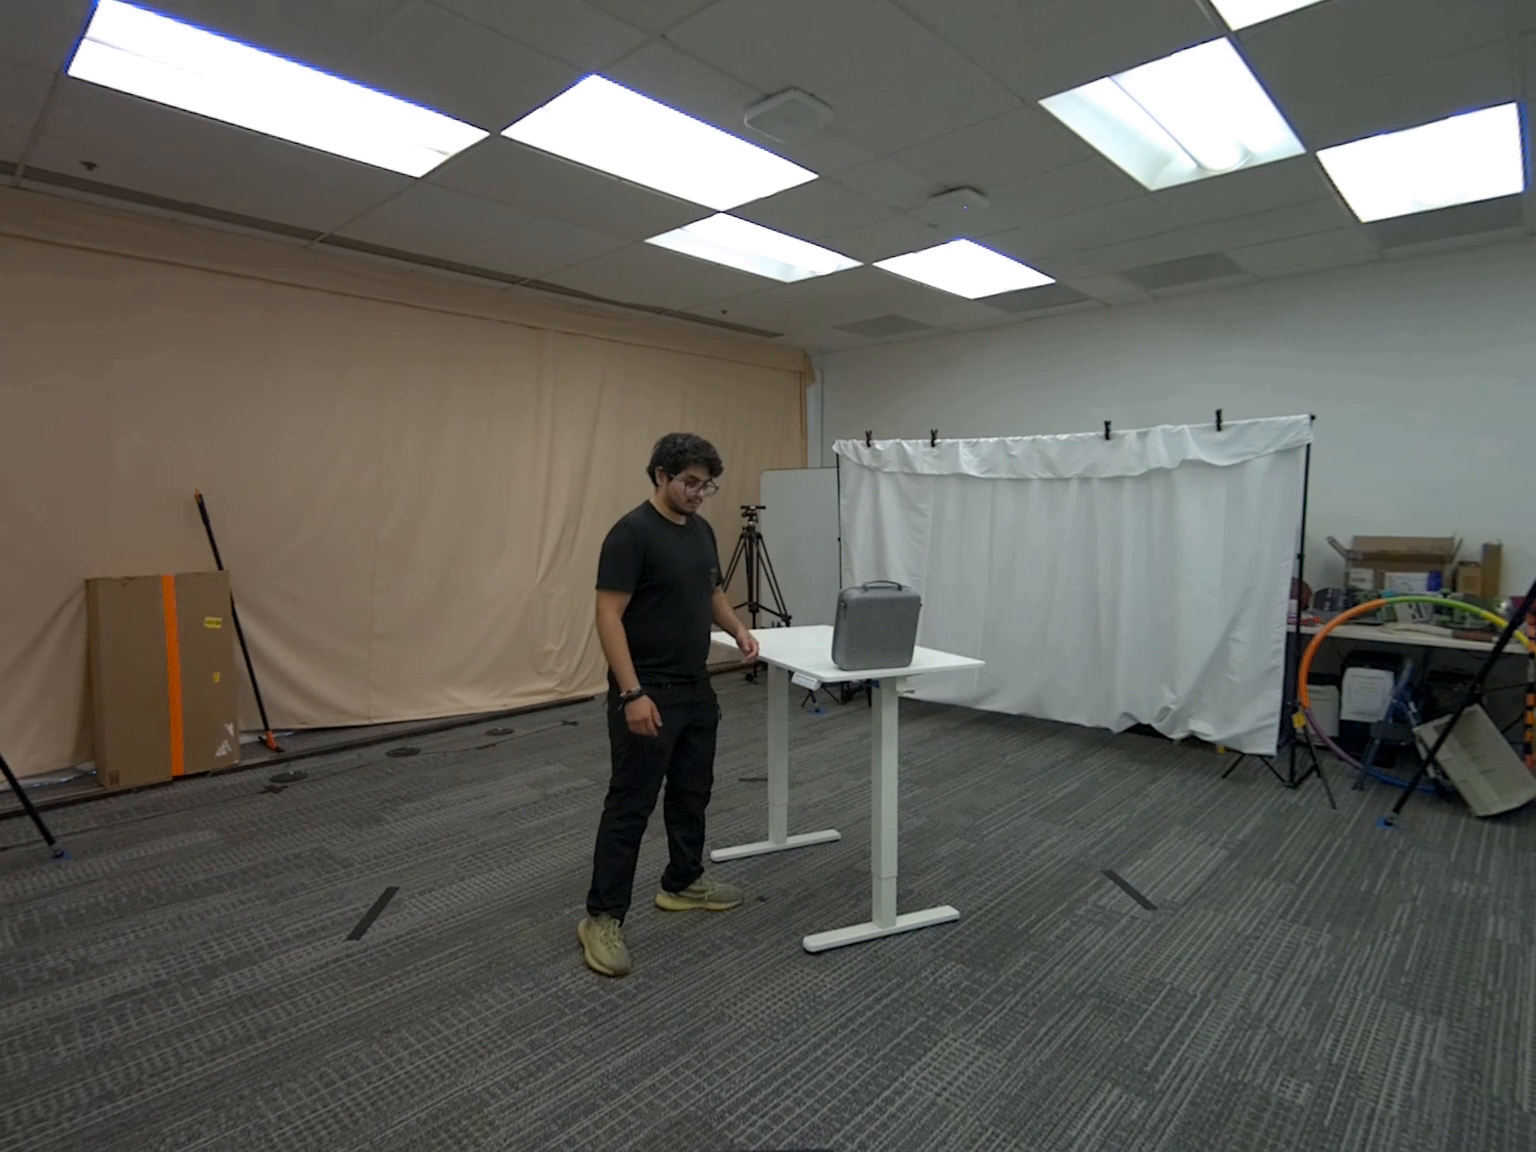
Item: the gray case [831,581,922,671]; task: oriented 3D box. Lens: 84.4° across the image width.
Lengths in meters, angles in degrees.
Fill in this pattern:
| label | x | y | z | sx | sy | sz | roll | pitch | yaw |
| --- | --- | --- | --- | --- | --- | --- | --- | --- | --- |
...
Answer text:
| label | x | y | z | sx | sy | sz | roll | pitch | yaw |
| --- | --- | --- | --- | --- | --- | --- | --- | --- | --- |
| gray case | 0.337 | 0.165 | 2.586 | 0.252 | 0.259 | 0.107 | 0 | 13 | -20 |
